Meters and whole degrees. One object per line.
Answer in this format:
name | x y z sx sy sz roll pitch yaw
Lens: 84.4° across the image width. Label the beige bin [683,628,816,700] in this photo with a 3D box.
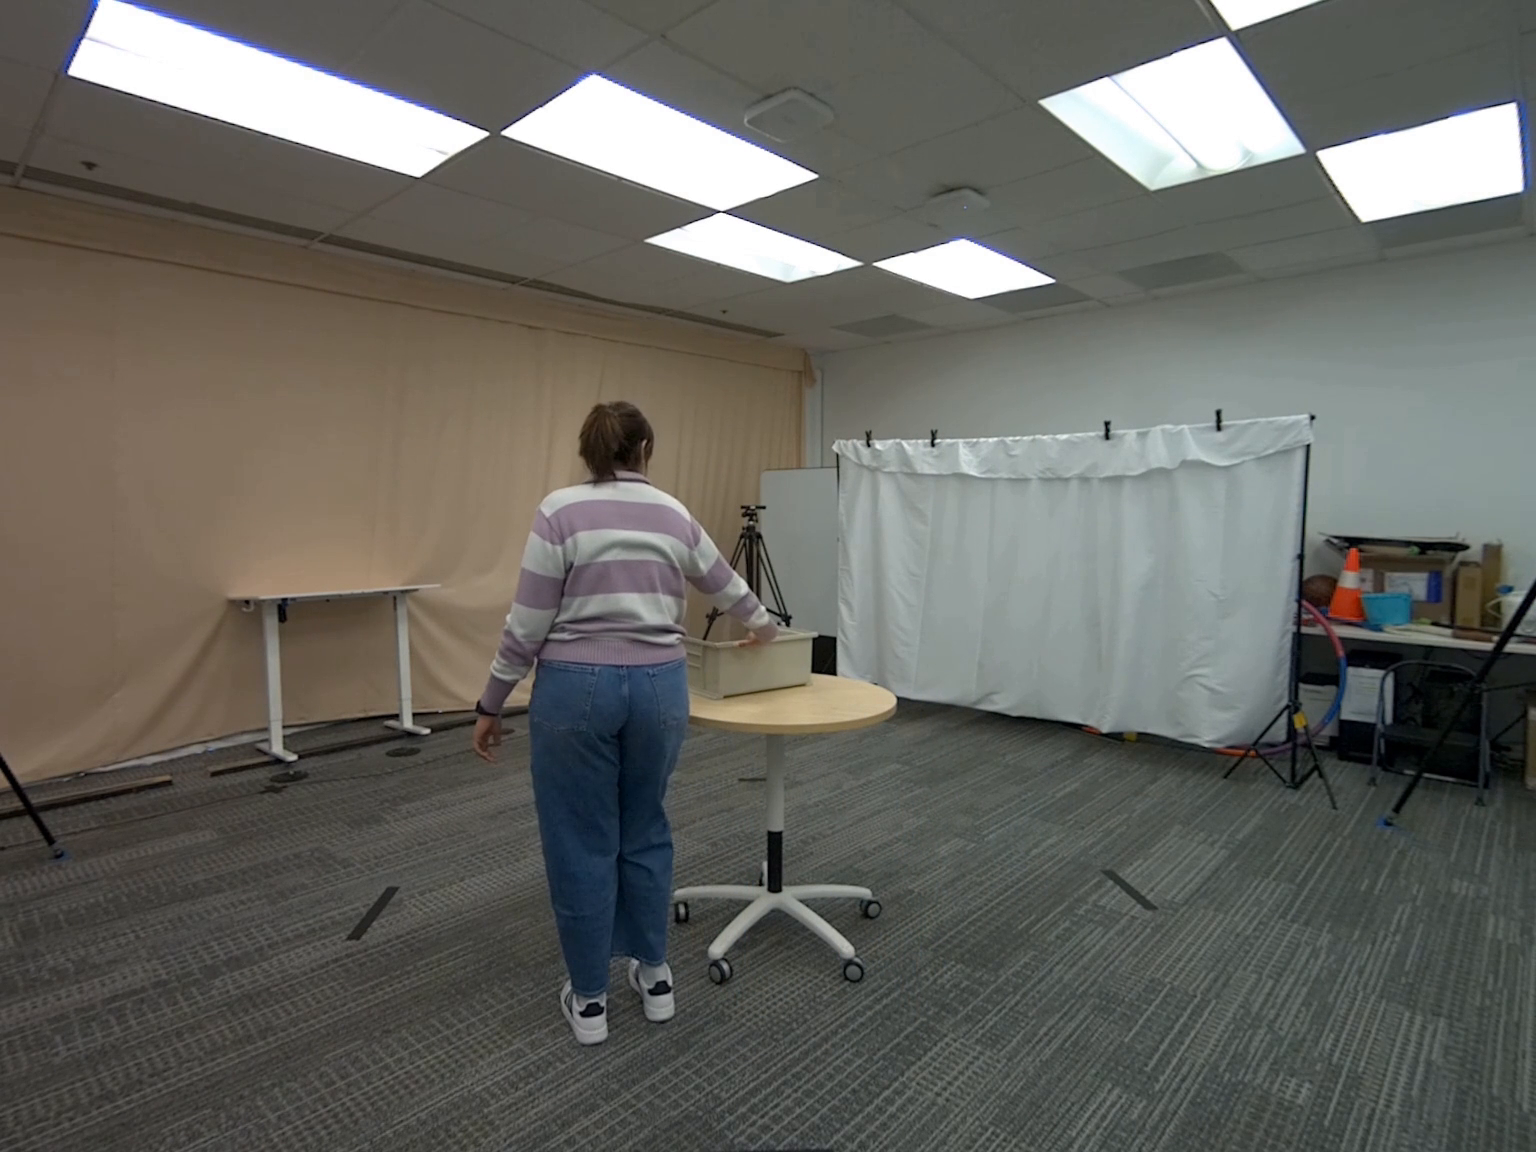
beige bin | -0.109 0.277 2.883 0.410 0.188 0.390 -3 8 -36
